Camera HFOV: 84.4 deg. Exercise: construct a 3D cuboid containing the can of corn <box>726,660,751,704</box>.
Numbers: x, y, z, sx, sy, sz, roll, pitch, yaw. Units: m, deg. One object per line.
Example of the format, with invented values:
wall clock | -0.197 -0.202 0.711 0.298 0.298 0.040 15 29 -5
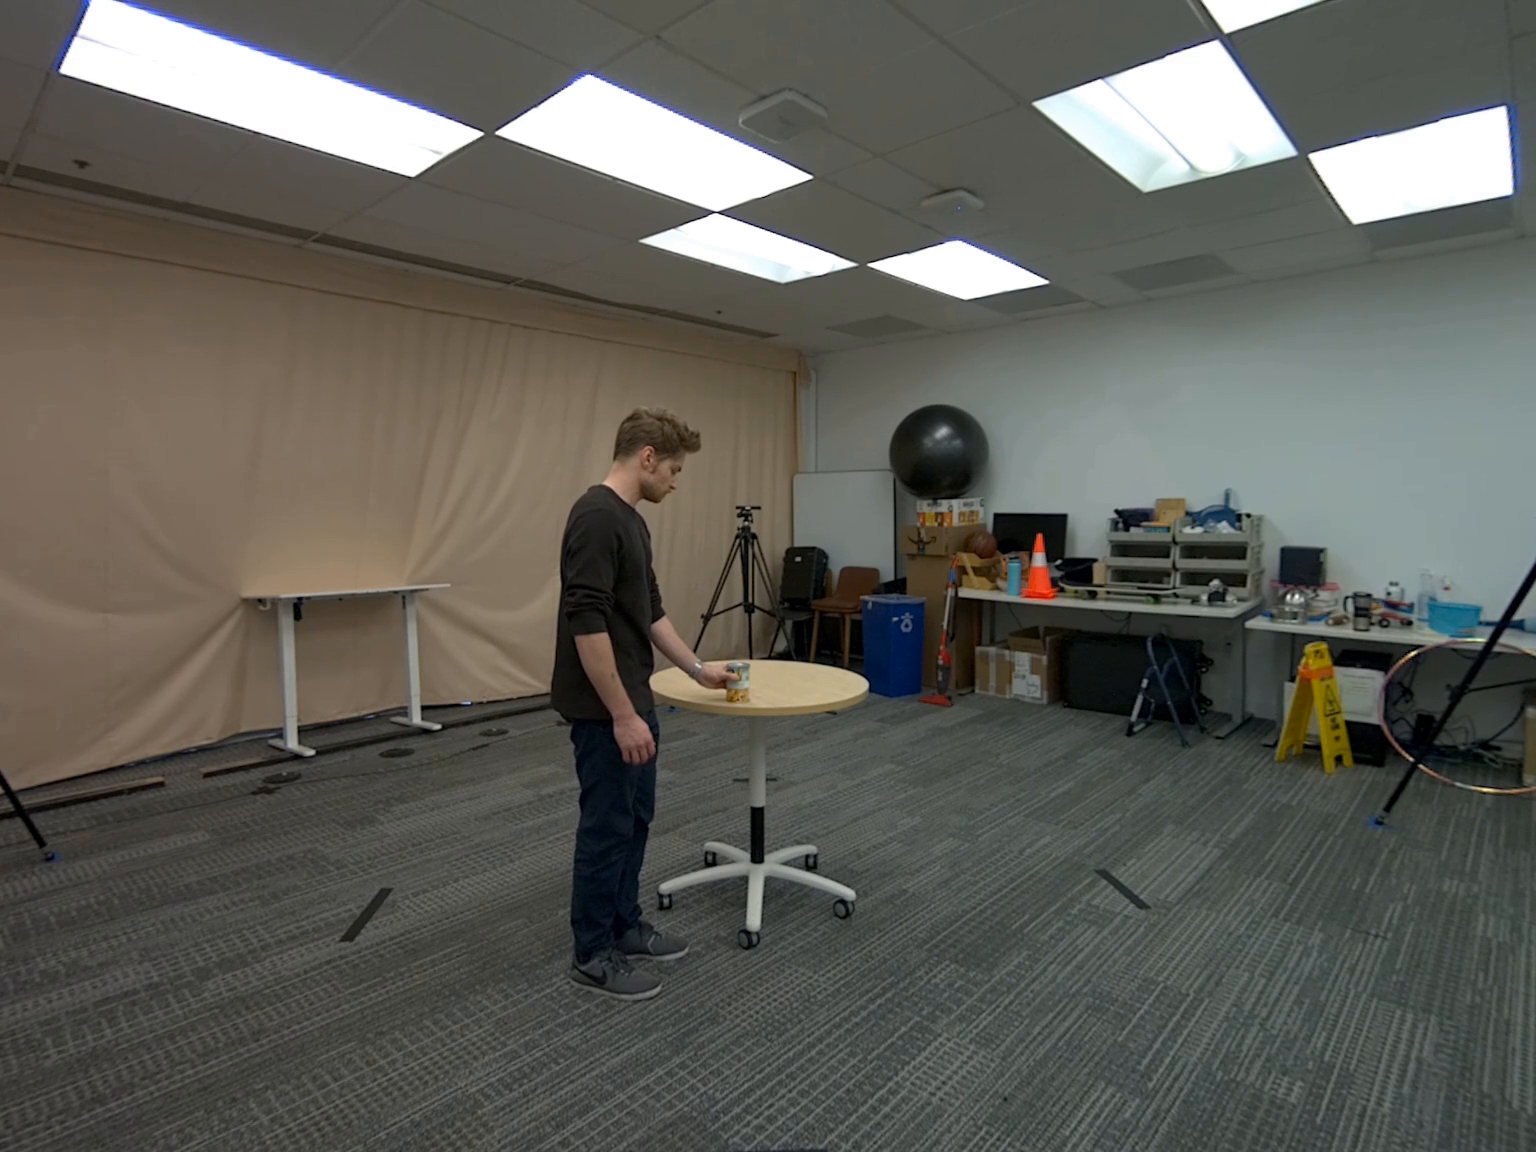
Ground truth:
can of corn | -0.092 0.335 2.627 0.074 0.111 0.074 -3 4 -2
